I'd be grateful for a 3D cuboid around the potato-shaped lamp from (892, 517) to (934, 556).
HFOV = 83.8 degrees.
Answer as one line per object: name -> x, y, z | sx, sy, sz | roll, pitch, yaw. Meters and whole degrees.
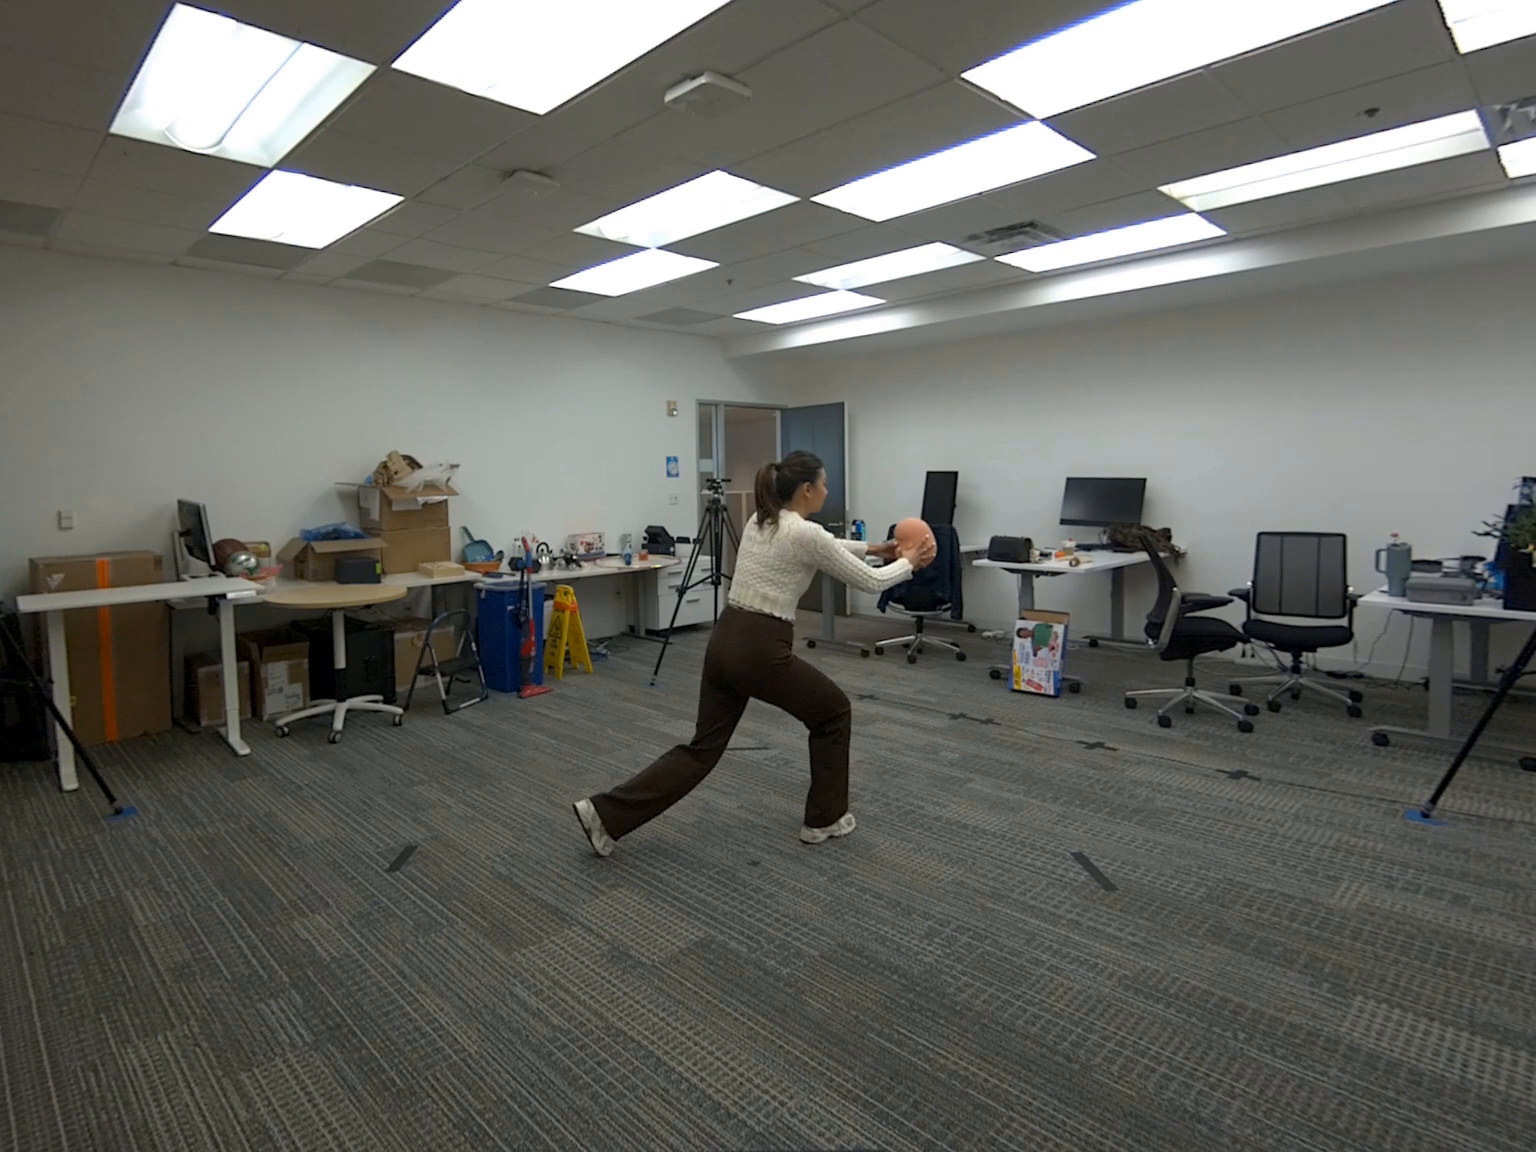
potato-shaped lamp -> 0.573, -0.132, 3.466 | 0.173, 0.195, 0.165 | -19, 12, 21
